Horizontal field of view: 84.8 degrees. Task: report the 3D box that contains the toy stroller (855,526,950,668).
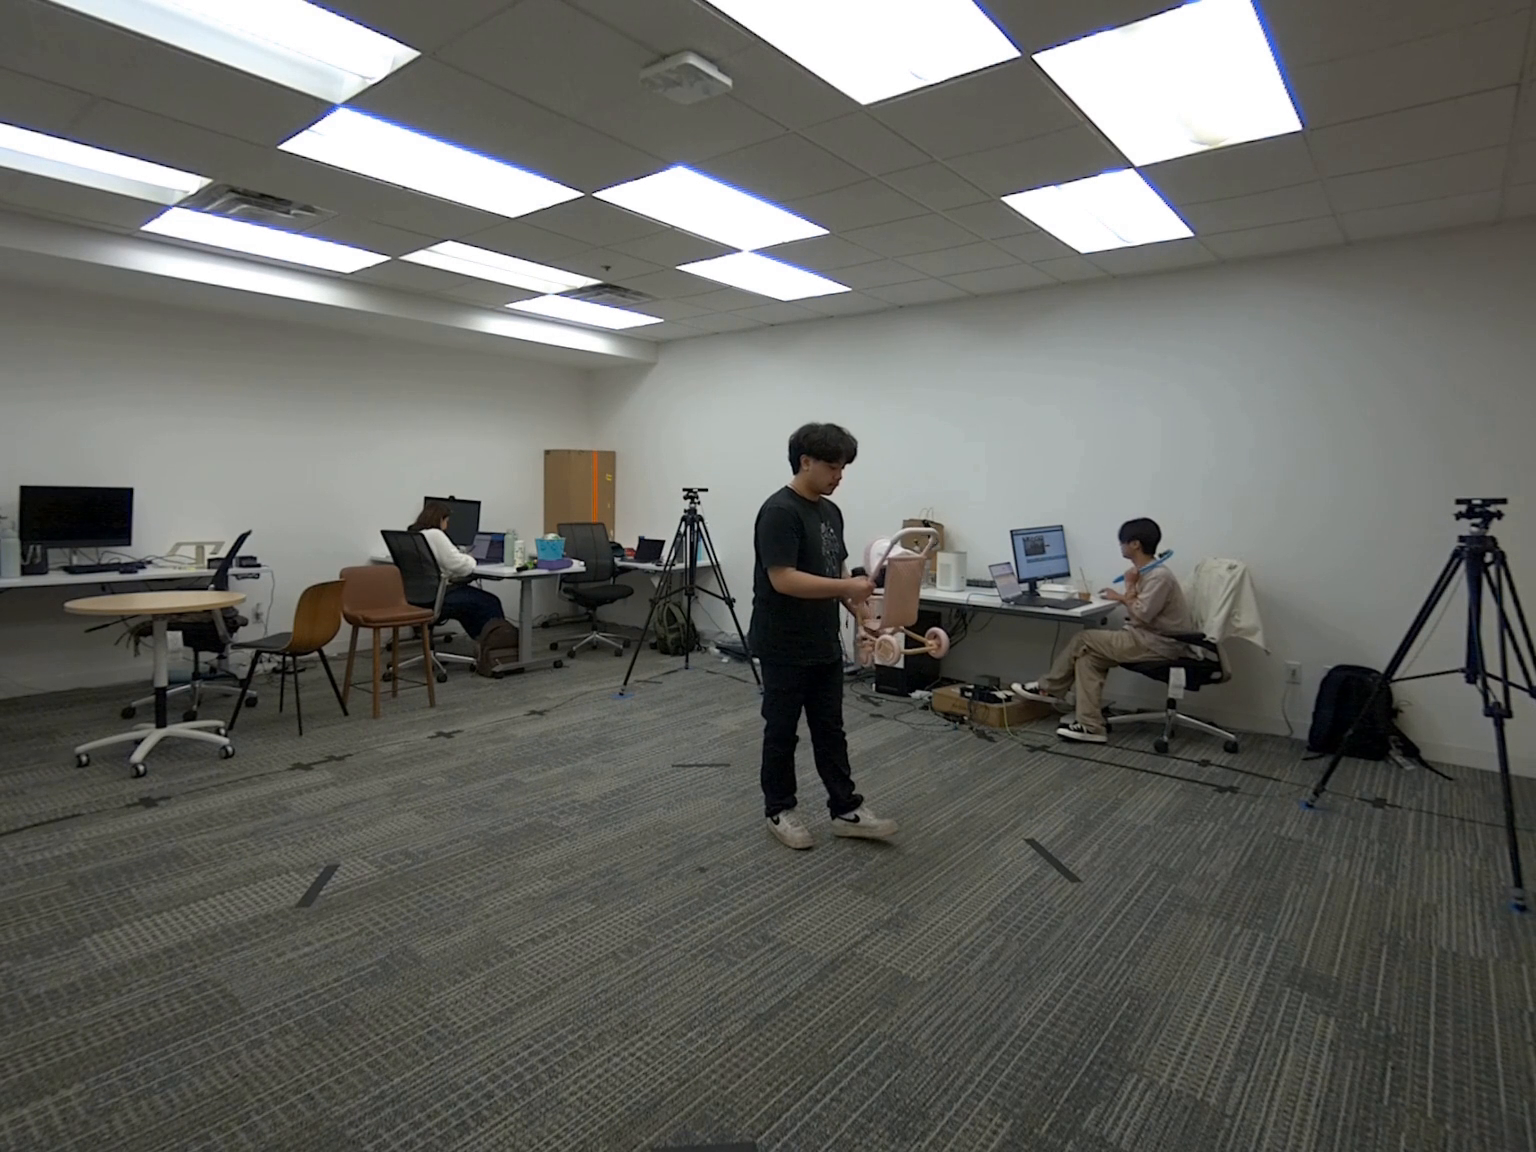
[{"bbox_3d":[0.446,0.089,3.121,0.274,0.534,0.351,-3,3,-30],"label":"toy stroller"}]
